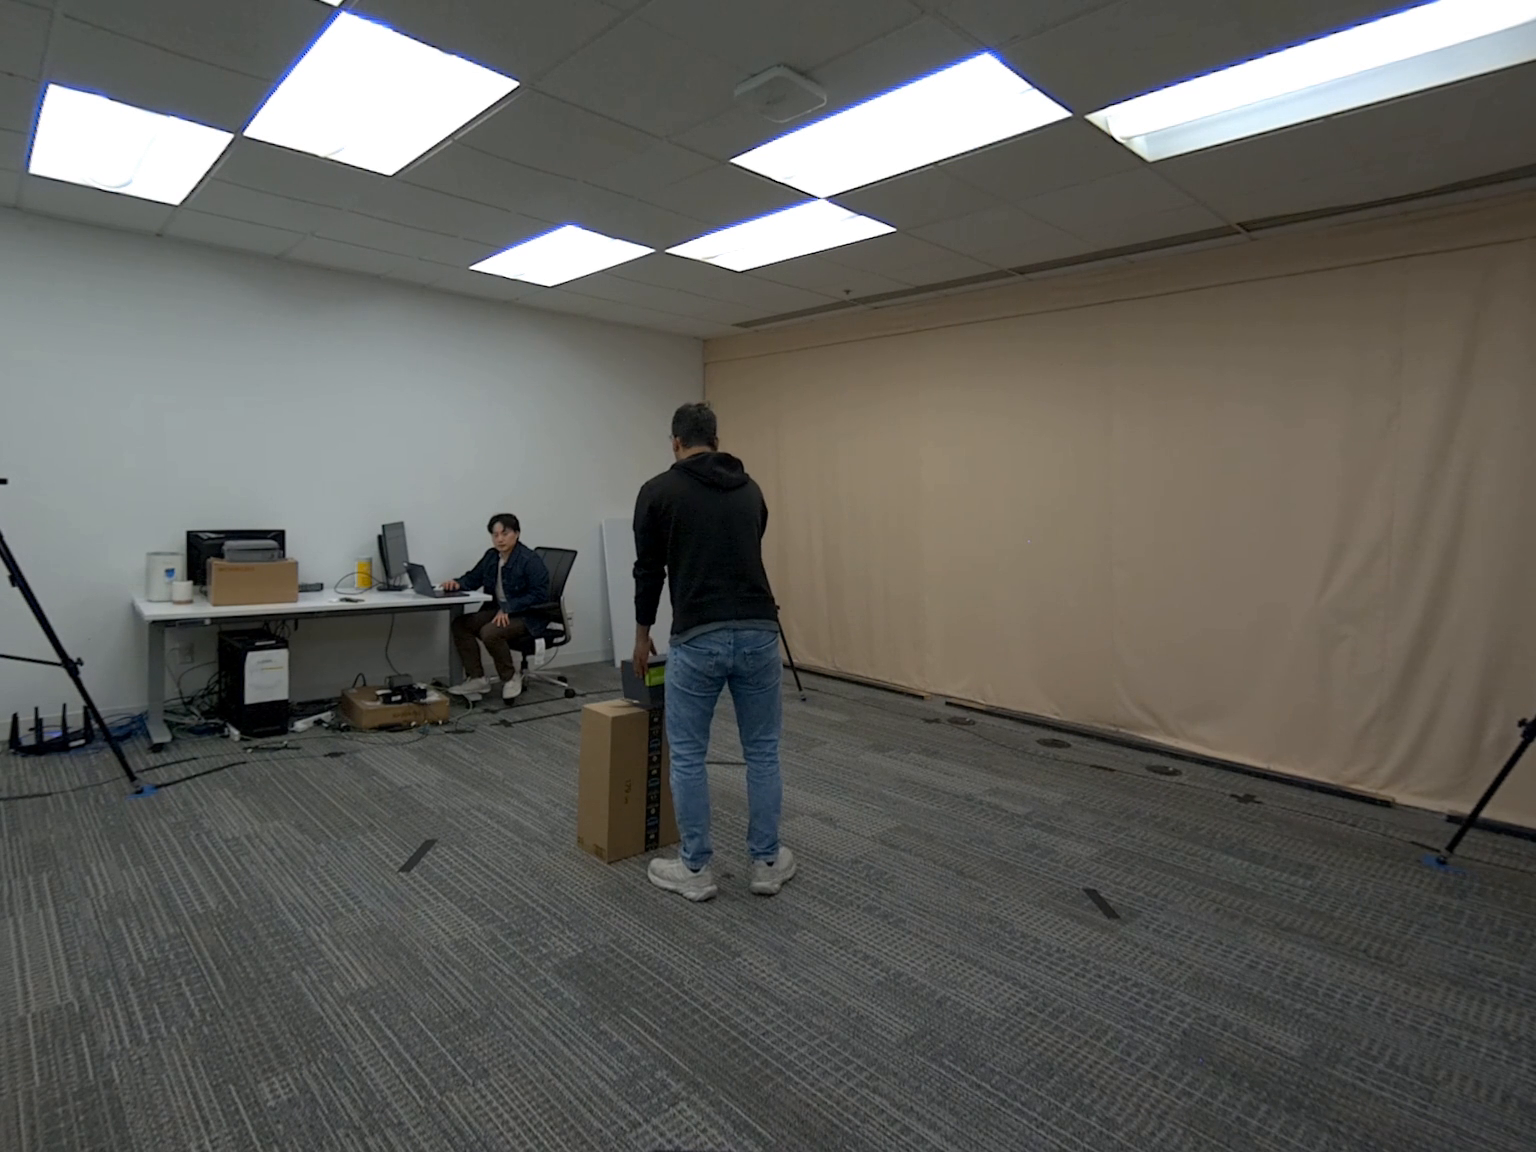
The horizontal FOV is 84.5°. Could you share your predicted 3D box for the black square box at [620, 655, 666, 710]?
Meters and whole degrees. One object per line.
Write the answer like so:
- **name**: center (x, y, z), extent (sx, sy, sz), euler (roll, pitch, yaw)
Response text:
- **black square box**: center (-0.422, 0.402, 3.346), extent (0.223, 0.156, 0.222), euler (-5, 2, -38)
